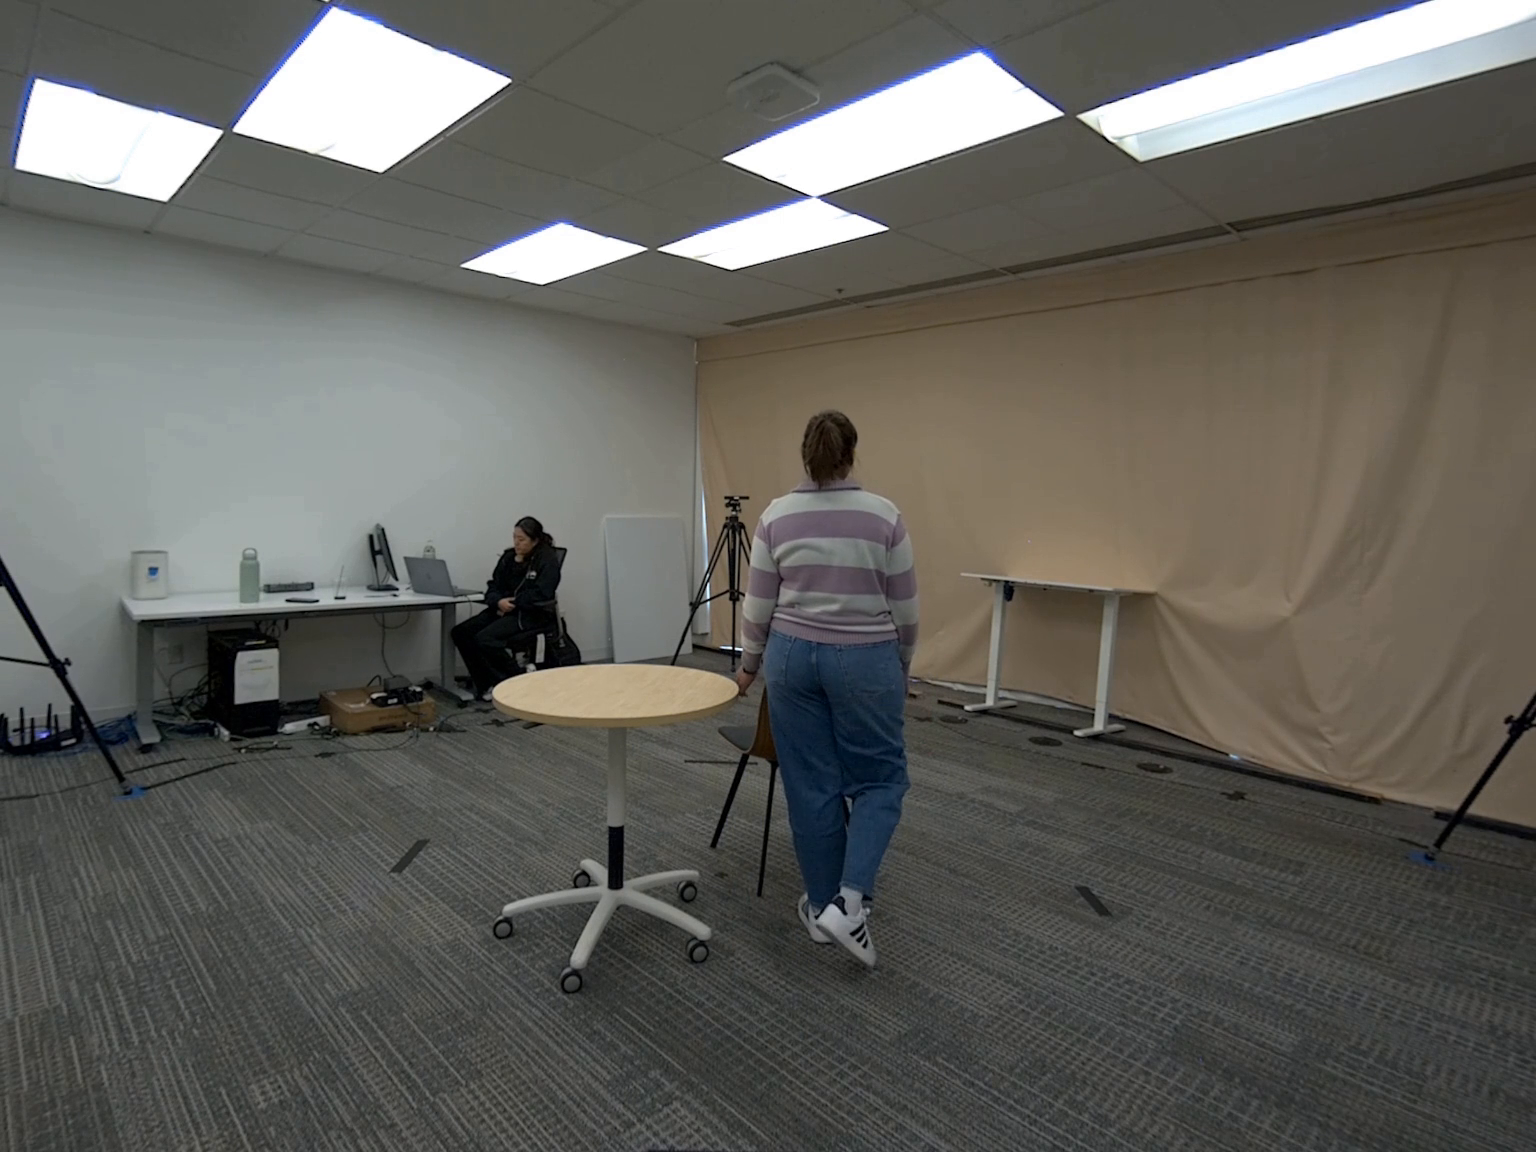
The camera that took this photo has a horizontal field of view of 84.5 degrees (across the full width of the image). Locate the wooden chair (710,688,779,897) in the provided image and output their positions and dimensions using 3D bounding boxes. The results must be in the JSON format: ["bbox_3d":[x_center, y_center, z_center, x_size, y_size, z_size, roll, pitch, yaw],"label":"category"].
[{"bbox_3d":[0.075,0.672,3.207,0.470,0.873,0.535,0,8,-25],"label":"wooden chair"}]
